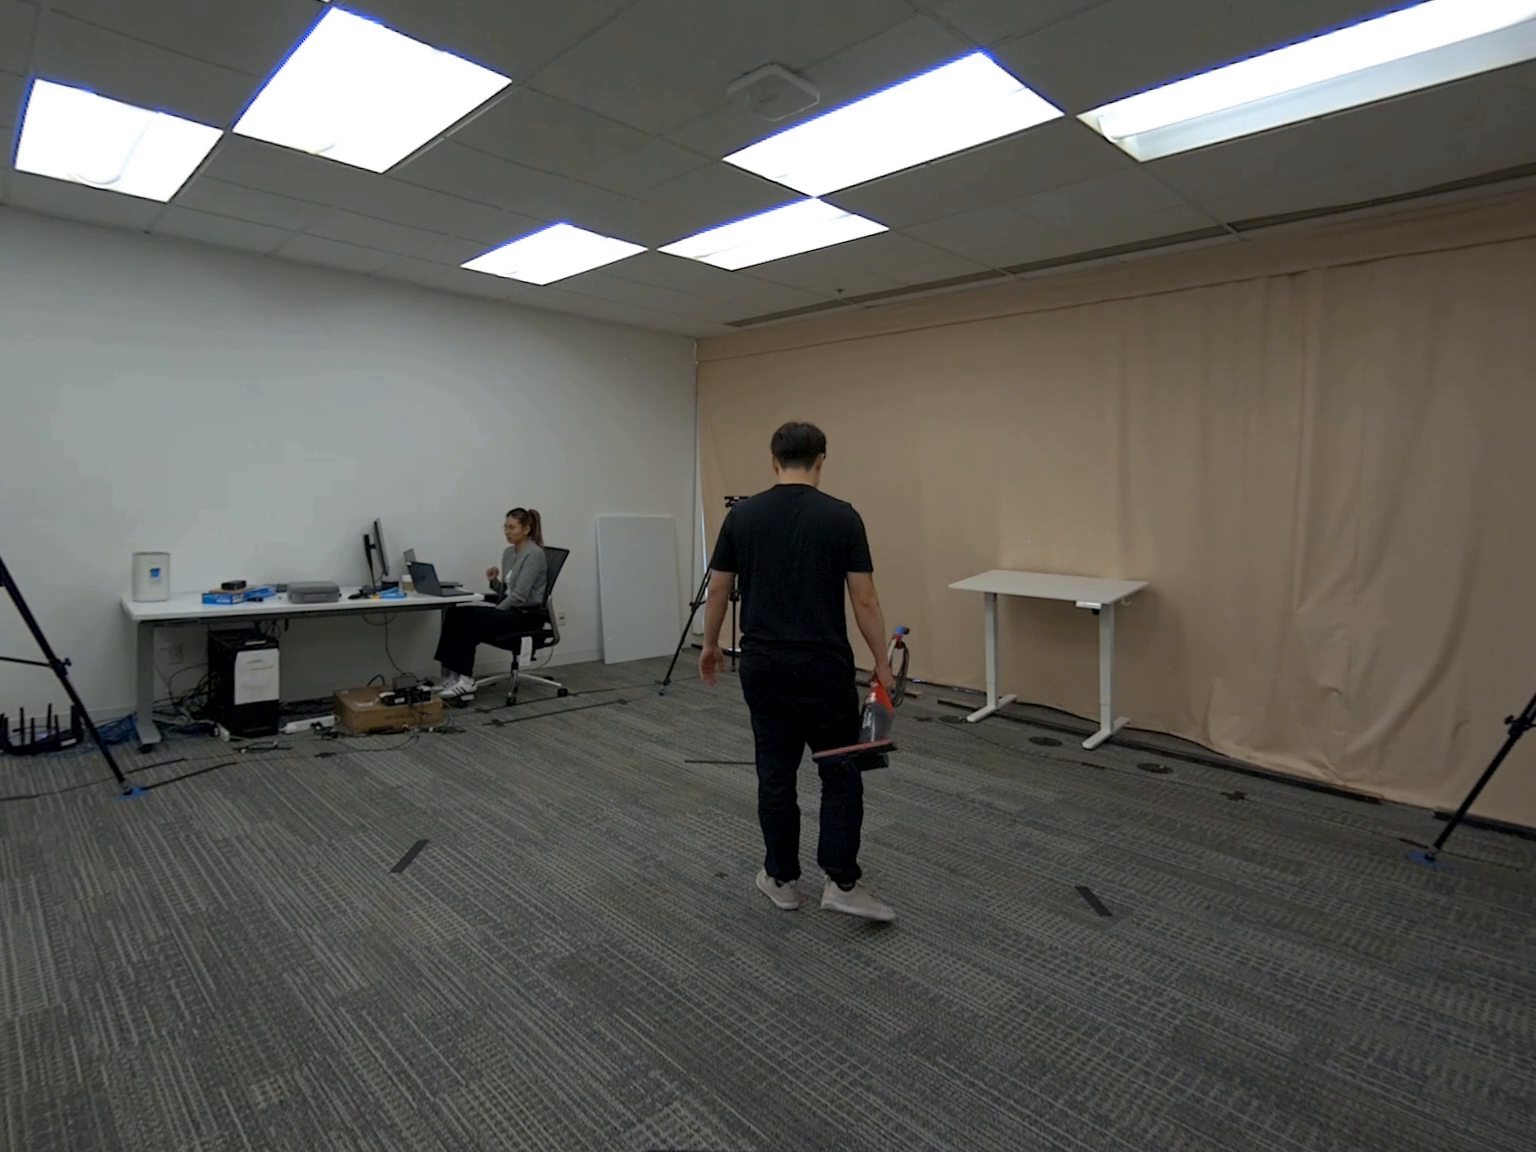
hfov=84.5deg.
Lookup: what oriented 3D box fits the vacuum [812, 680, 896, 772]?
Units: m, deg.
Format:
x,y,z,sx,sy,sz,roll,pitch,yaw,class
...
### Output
x,y,z,sx,sy,sz,roll,pitch,yaw,class
0.423,0.386,2.970,0.255,0.142,1.049,-15,14,20,vacuum
